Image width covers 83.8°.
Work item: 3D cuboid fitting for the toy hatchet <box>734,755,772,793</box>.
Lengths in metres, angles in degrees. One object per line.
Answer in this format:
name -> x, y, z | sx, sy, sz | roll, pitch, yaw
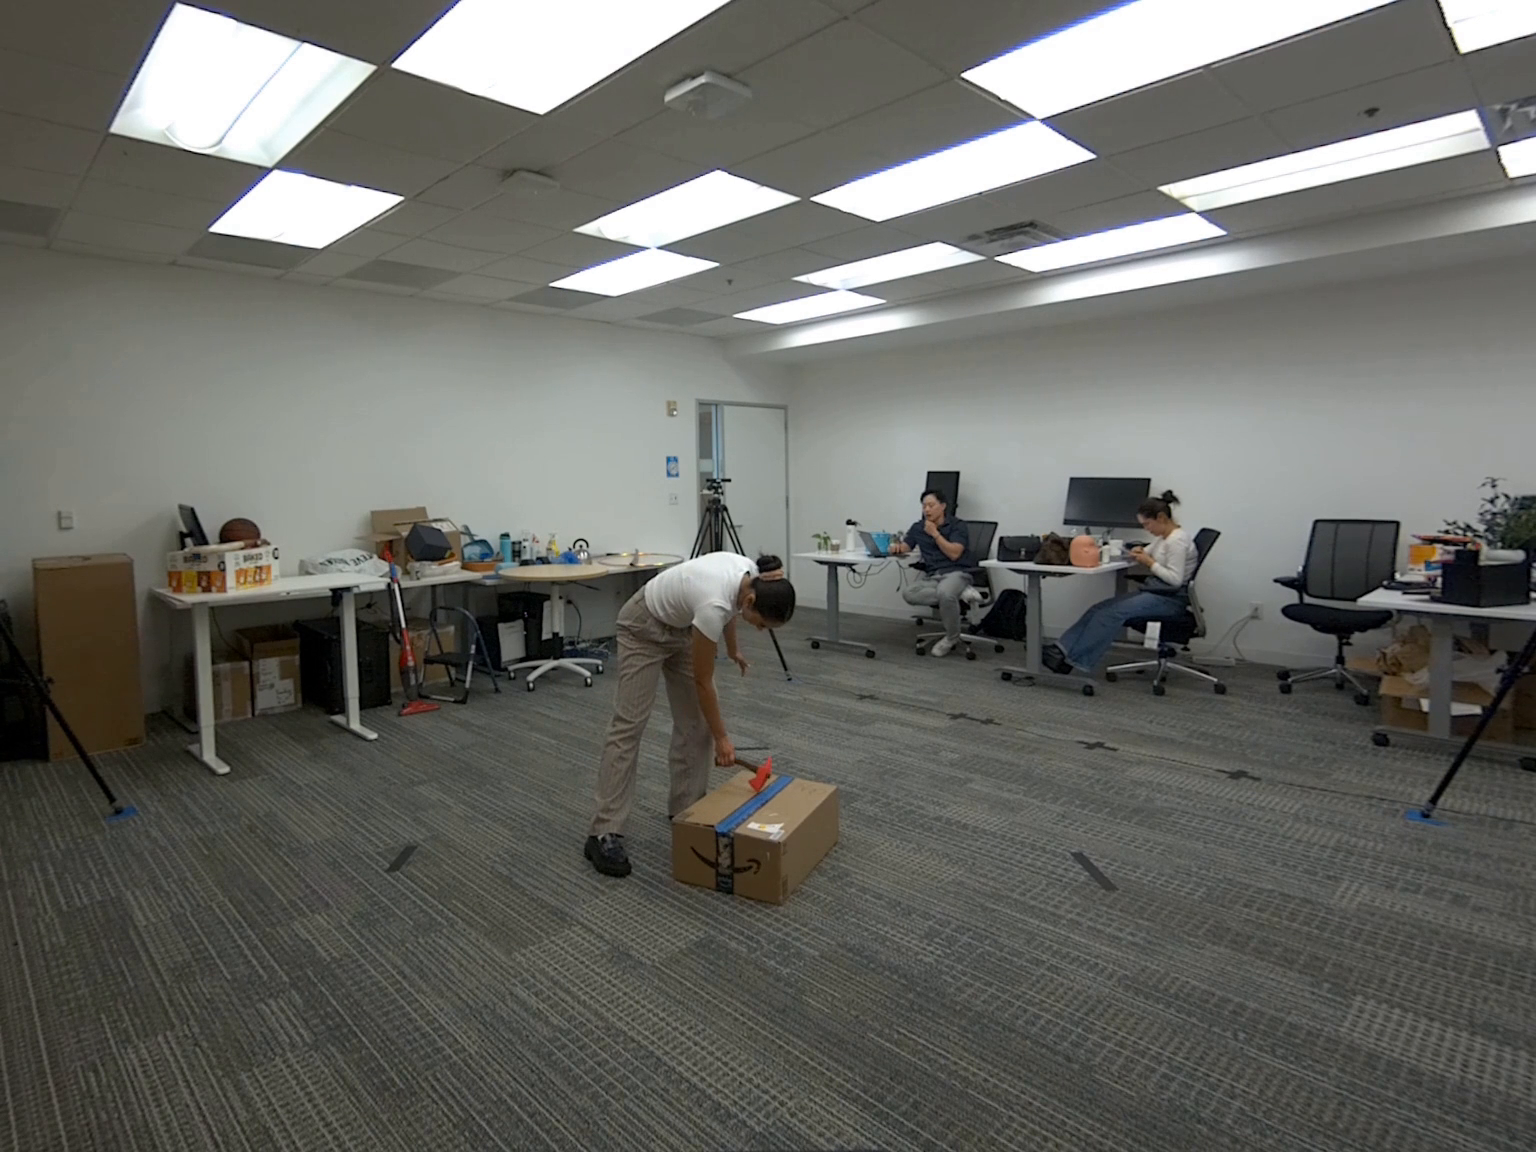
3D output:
toy hatchet -> -0.103, 0.764, 3.282 | 0.276, 0.133, 0.028 | -10, -26, 36
